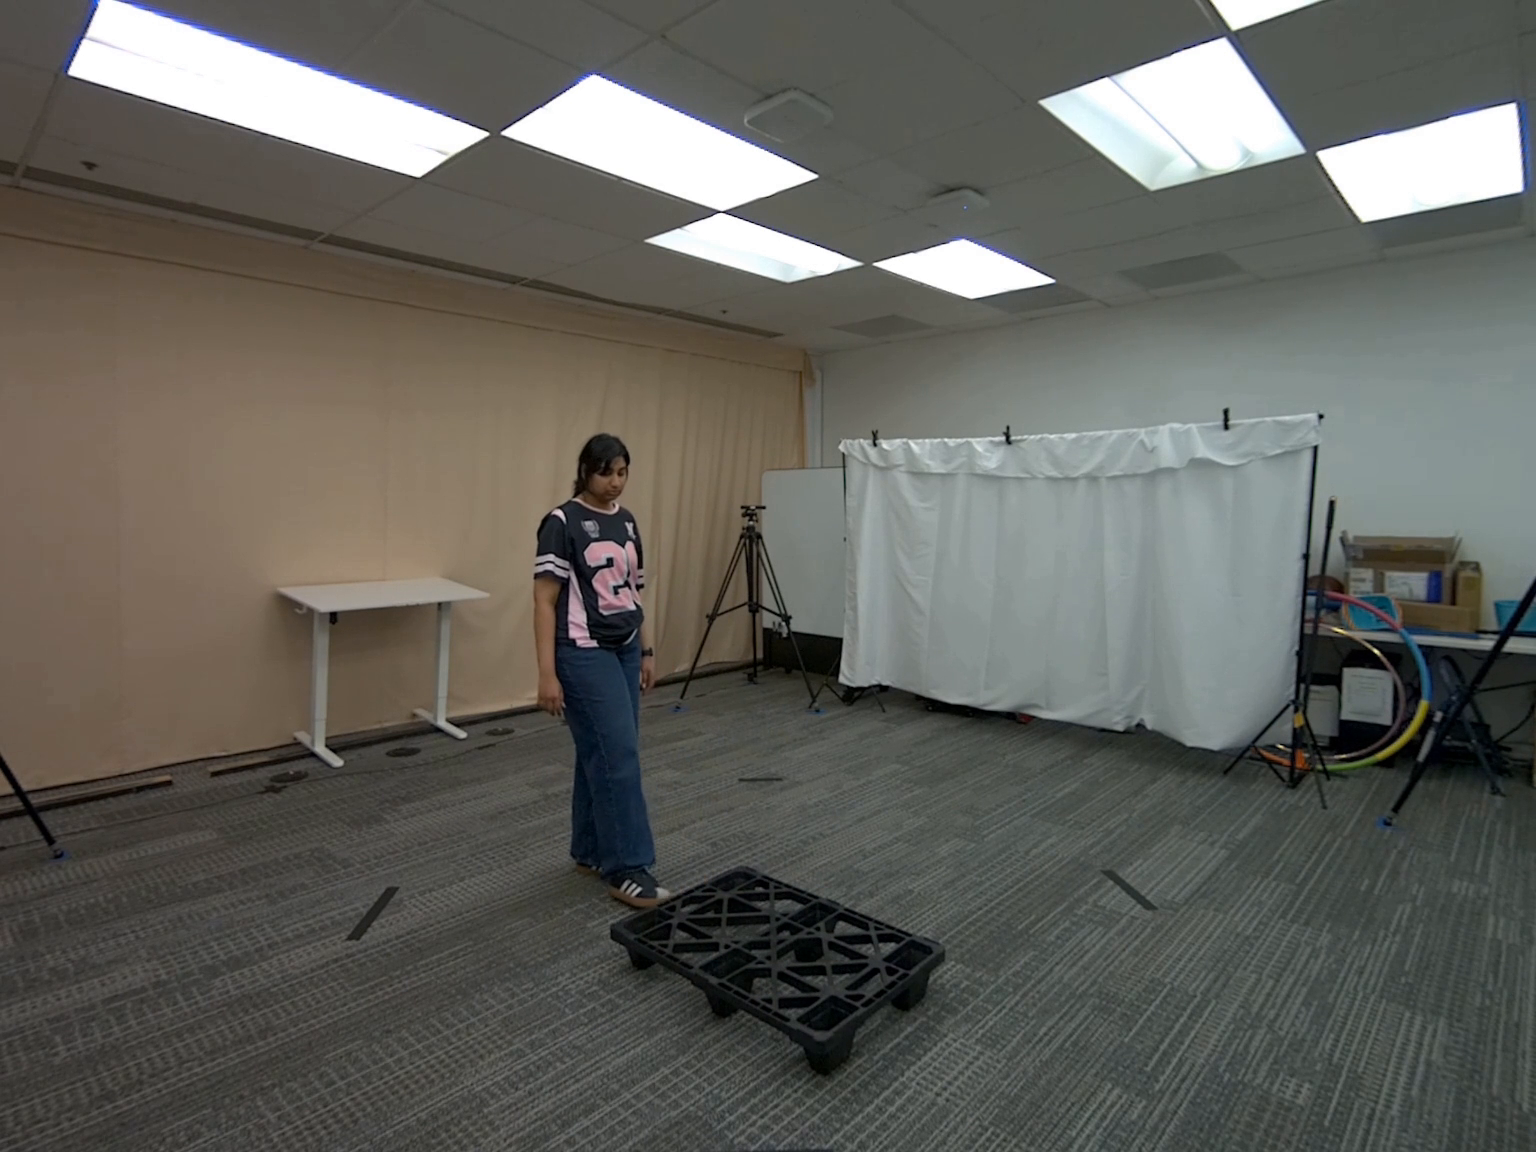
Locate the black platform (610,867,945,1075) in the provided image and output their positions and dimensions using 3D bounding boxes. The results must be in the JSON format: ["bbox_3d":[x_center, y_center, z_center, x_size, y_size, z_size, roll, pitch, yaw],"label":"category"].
[{"bbox_3d":[0.020,1.121,2.470,0.832,0.143,0.587,4,6,42],"label":"black platform"}]
